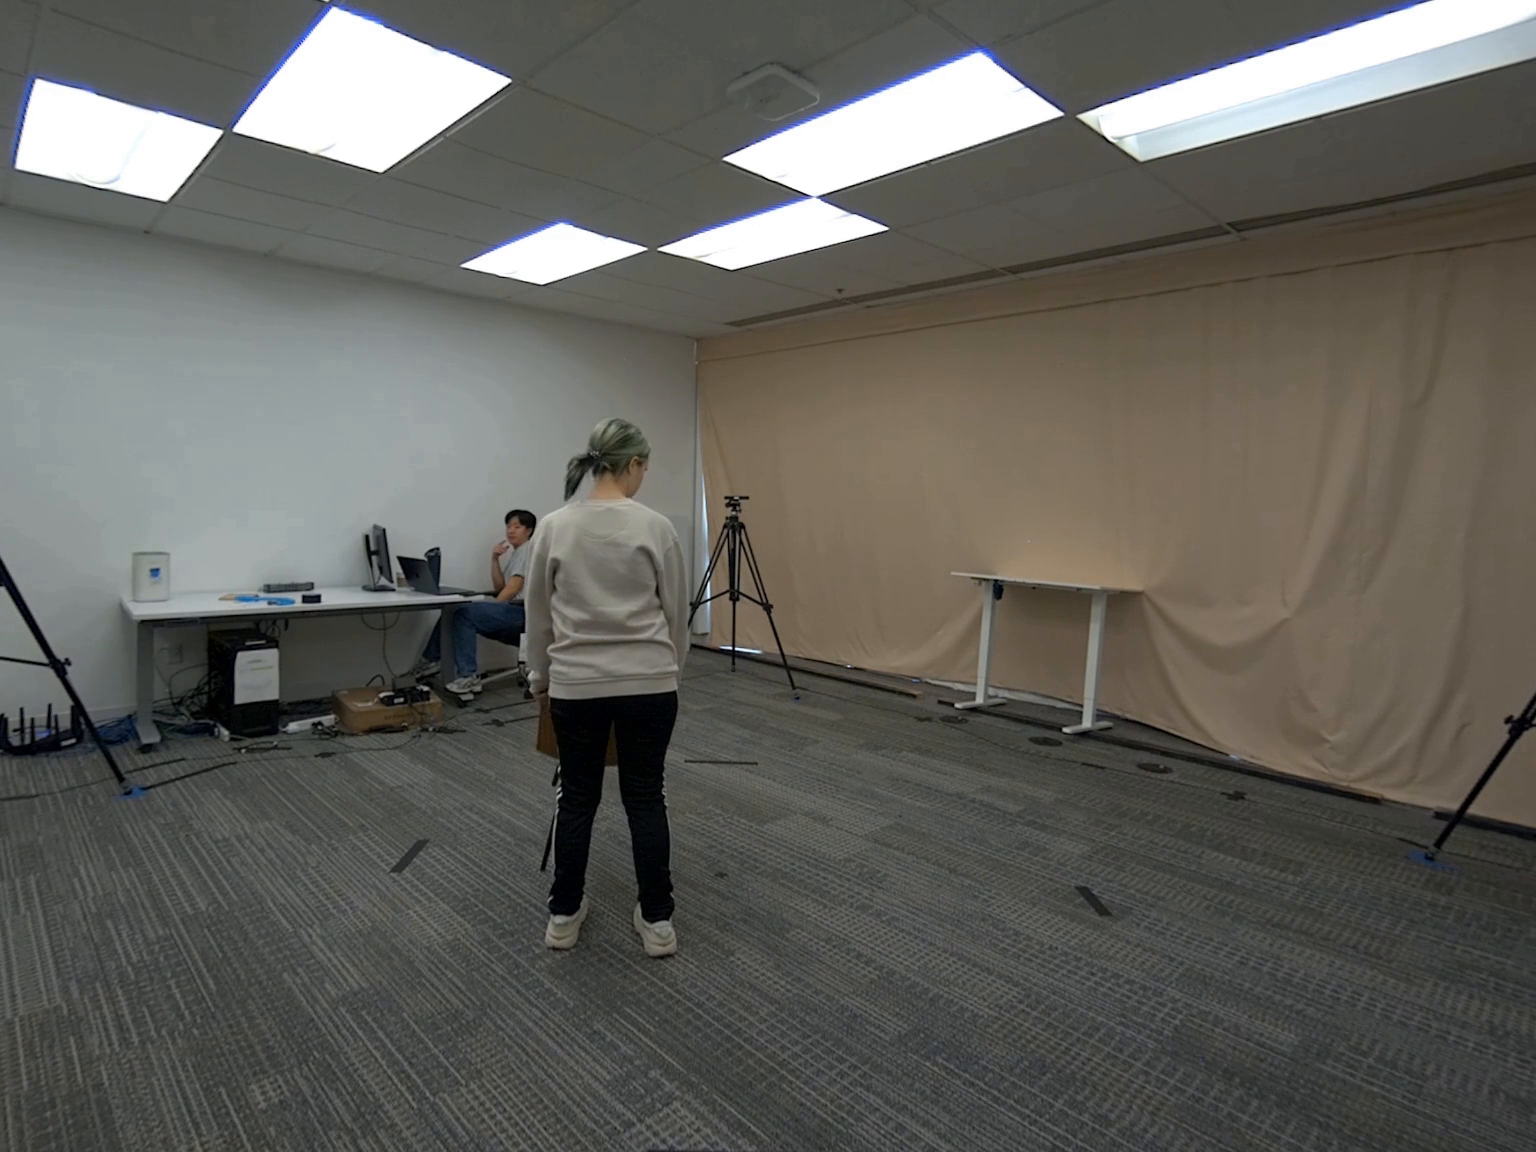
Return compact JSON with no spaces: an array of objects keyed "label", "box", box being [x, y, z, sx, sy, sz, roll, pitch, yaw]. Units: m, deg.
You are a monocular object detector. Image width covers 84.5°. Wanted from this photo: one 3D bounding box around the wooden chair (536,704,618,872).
[{"label":"wooden chair","box":[-0.615,0.611,3.140,0.475,0.862,0.536,0,32,-8]}]
